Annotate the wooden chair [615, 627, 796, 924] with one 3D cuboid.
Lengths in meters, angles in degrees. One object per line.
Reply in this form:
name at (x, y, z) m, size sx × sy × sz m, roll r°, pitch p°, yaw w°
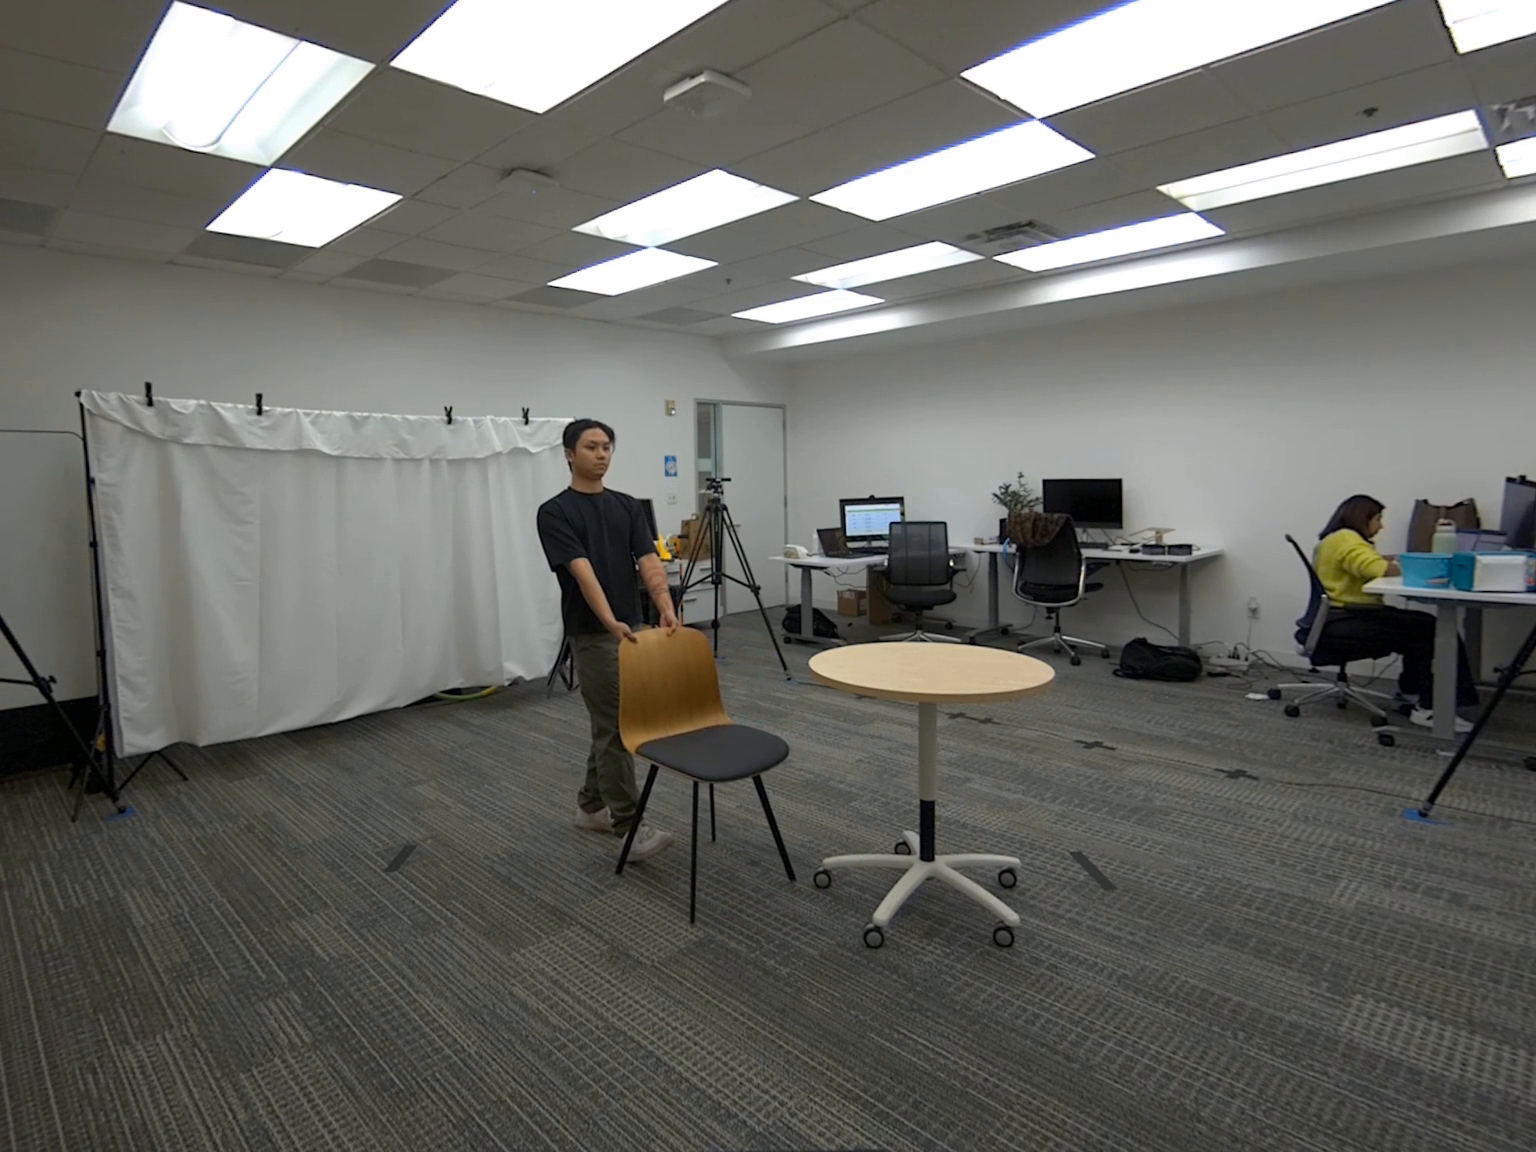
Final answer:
wooden chair at (-0.221, 0.632, 2.957) m, size 0.465 × 0.877 × 0.537 m, roll -4°, pitch 1°, yaw -41°
